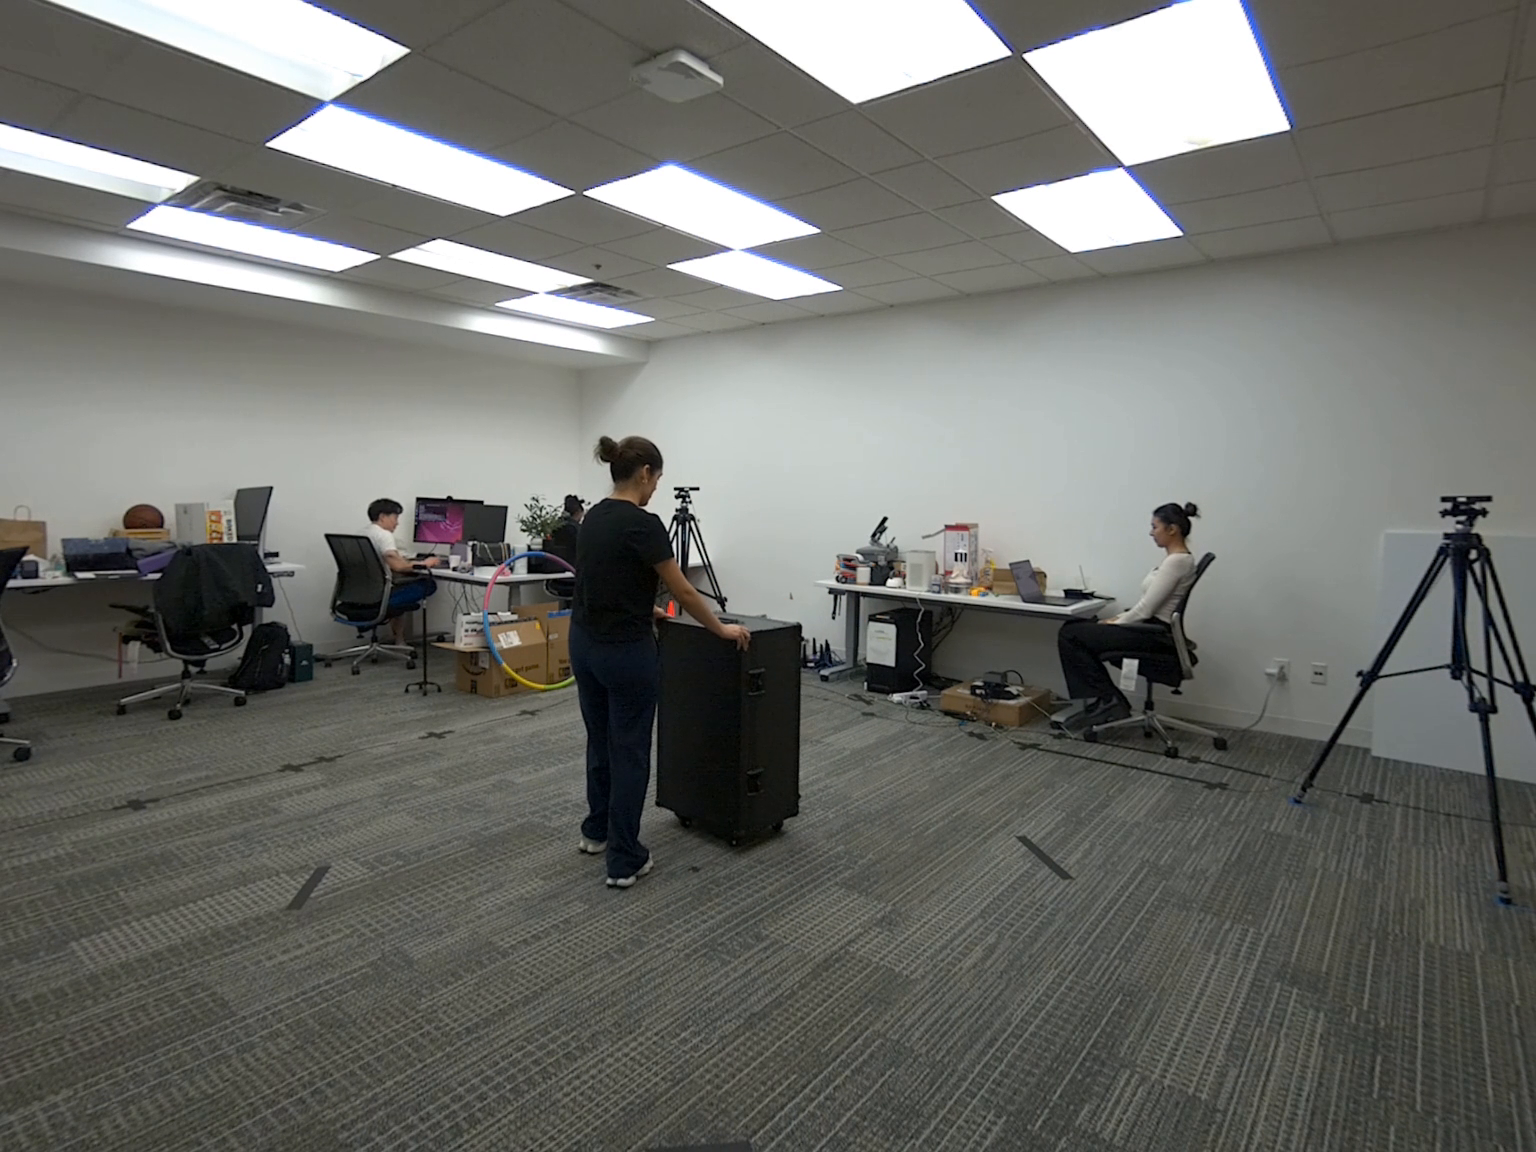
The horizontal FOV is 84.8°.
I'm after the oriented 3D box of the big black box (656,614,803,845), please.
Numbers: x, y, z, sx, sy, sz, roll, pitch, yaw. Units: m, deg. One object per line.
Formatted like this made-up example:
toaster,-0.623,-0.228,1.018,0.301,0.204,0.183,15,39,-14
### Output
big black box,-0.146,0.601,3.495,0.539,0.859,0.384,4,4,44
